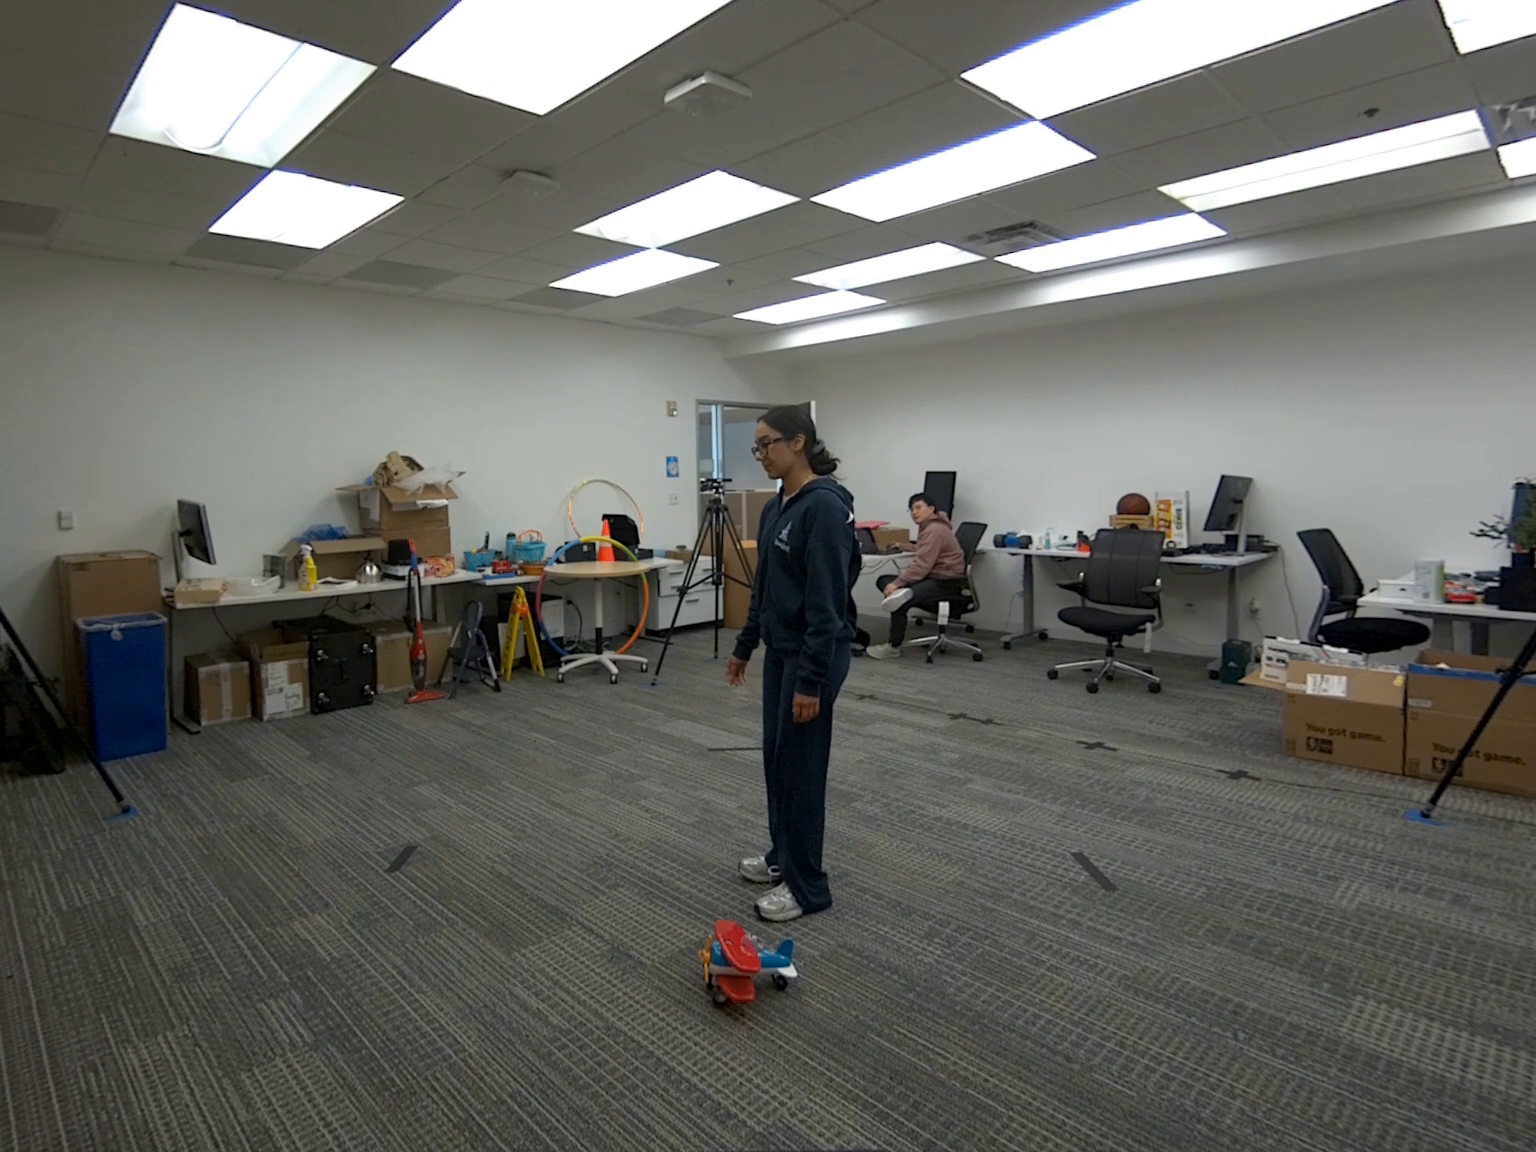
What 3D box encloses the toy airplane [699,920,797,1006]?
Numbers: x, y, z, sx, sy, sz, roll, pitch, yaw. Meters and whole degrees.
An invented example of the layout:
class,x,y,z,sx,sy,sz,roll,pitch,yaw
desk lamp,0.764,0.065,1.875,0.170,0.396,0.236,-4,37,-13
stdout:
class,x,y,z,sx,sy,sz,roll,pitch,yaw
toy airplane,-0.062,1.059,2.344,0.253,0.155,0.259,-9,10,-43
